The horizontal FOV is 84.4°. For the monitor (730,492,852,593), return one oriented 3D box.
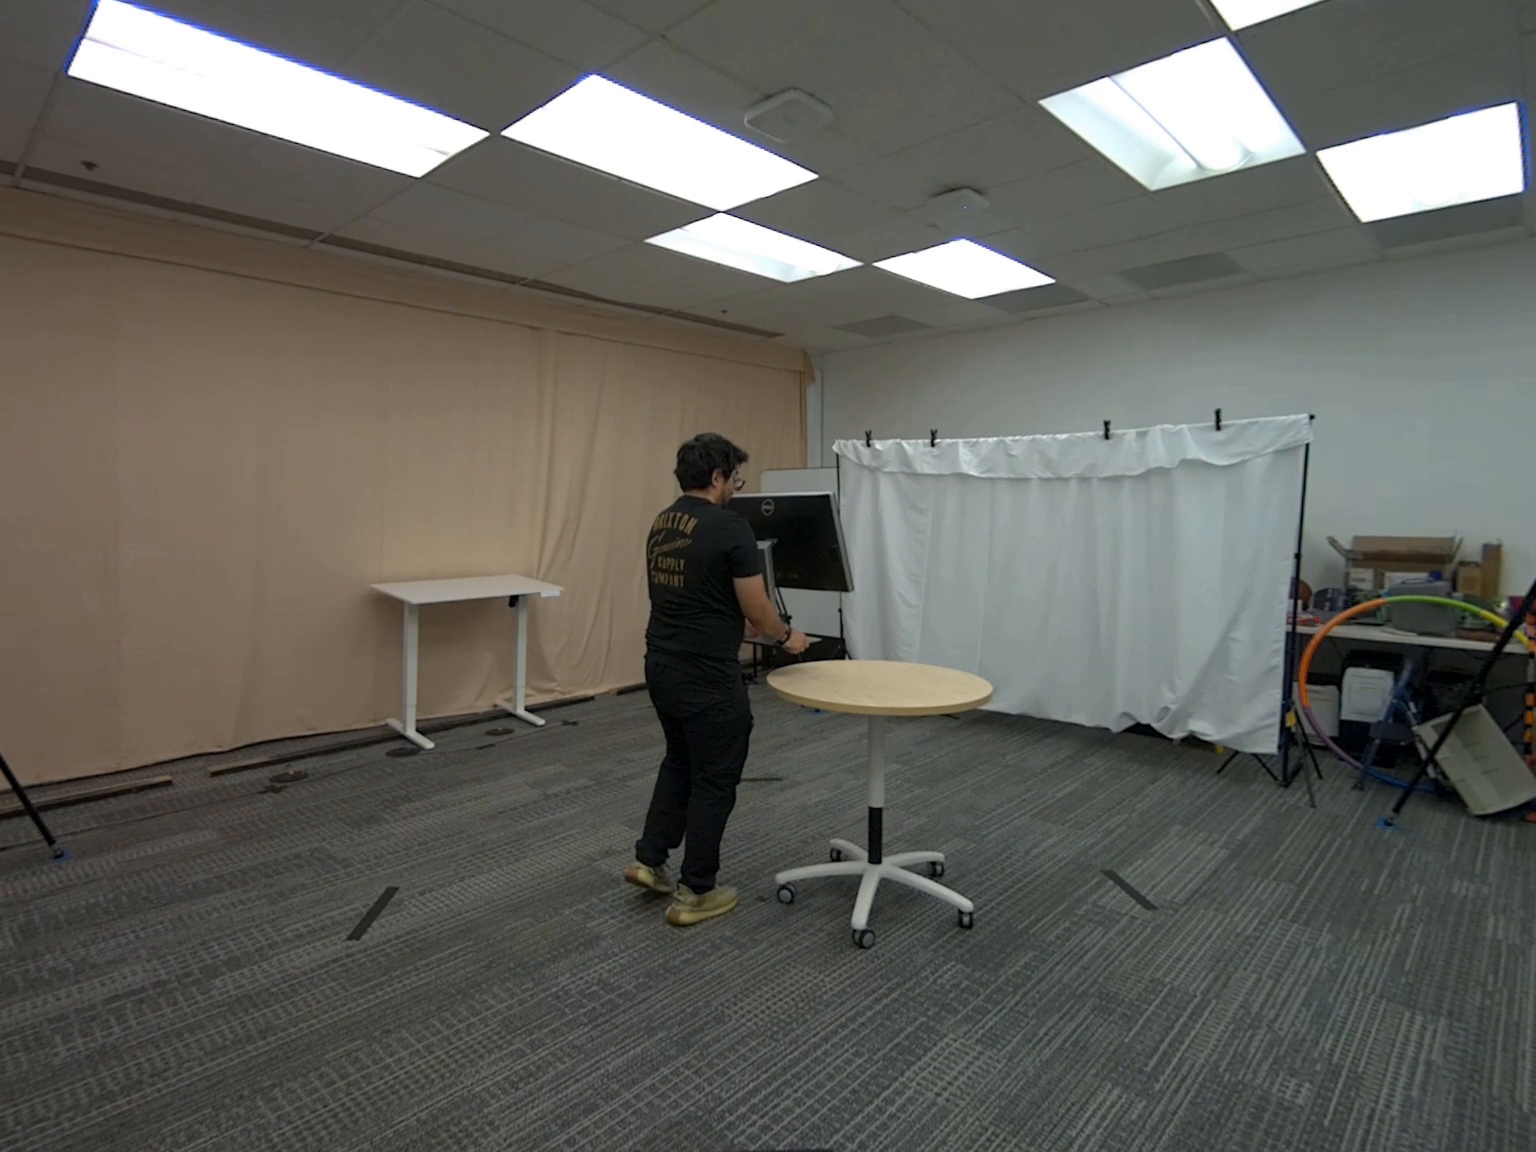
[{"bbox_3d":[0.018,-0.023,3.048,0.584,0.549,0.205,3,15,44],"label":"monitor"}]
